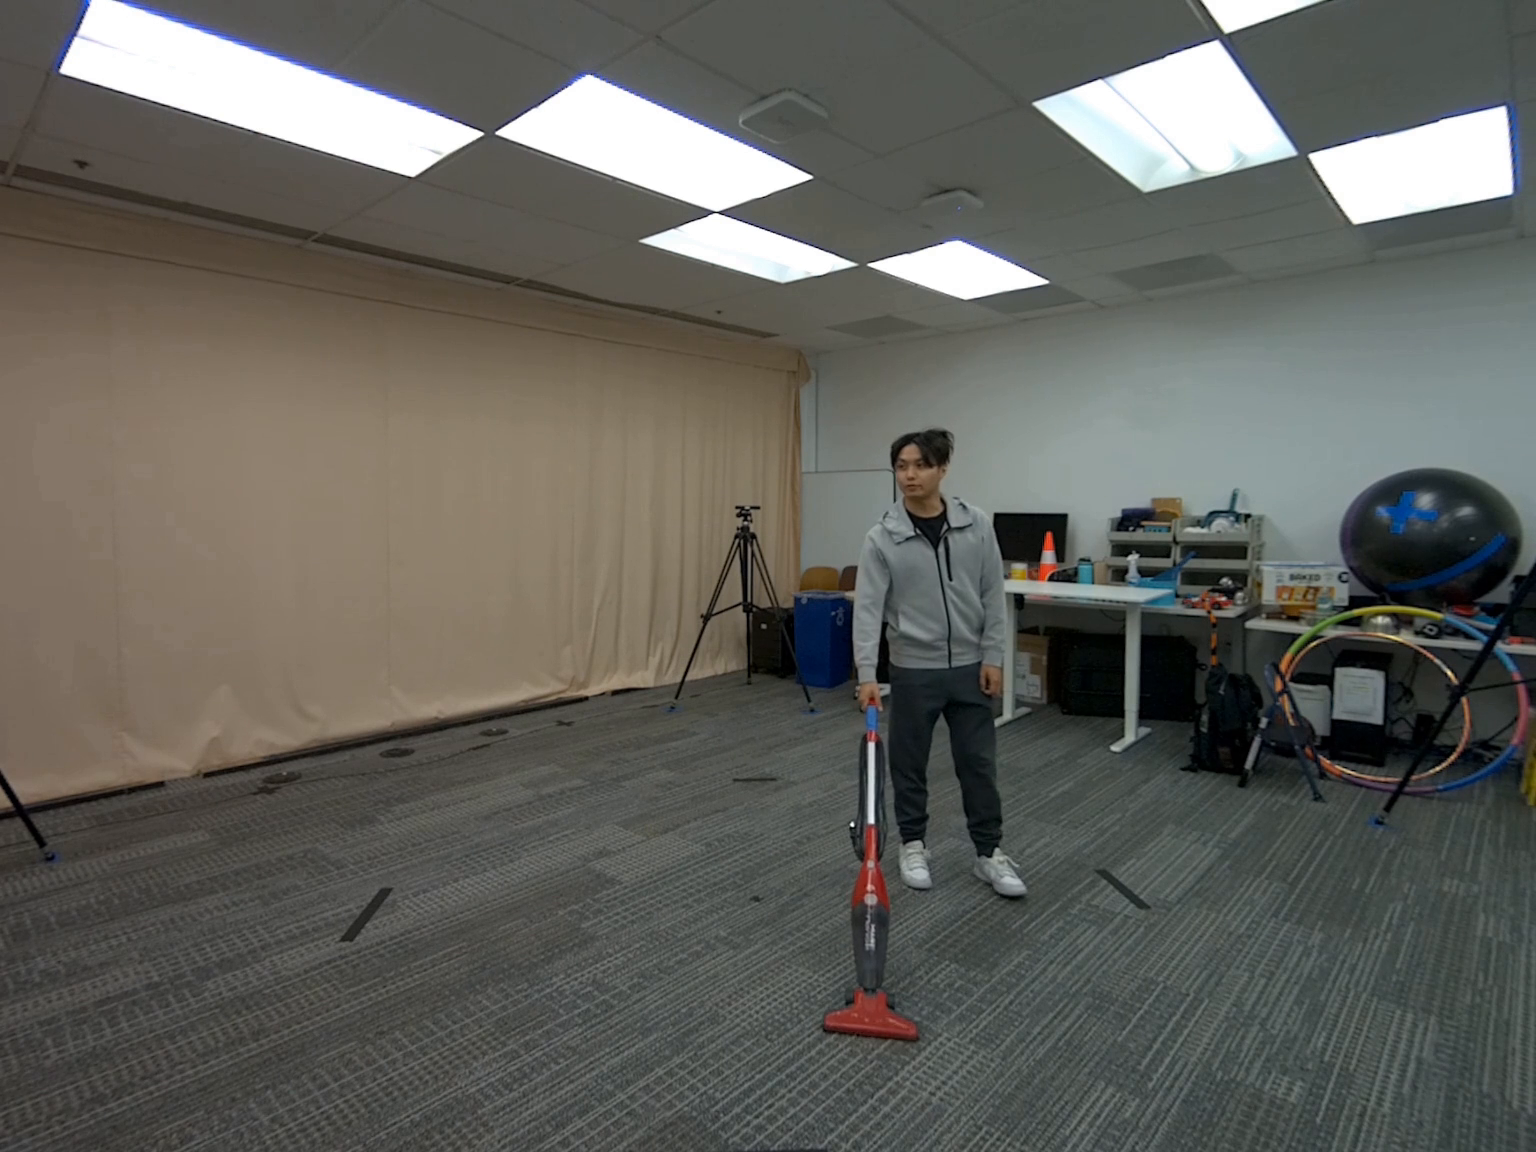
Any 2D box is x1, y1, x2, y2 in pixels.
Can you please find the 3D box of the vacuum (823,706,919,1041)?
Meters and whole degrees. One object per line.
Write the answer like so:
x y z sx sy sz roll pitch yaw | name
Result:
0.339 0.810 2.644 0.256 0.140 1.063 -3 46 12 | vacuum
